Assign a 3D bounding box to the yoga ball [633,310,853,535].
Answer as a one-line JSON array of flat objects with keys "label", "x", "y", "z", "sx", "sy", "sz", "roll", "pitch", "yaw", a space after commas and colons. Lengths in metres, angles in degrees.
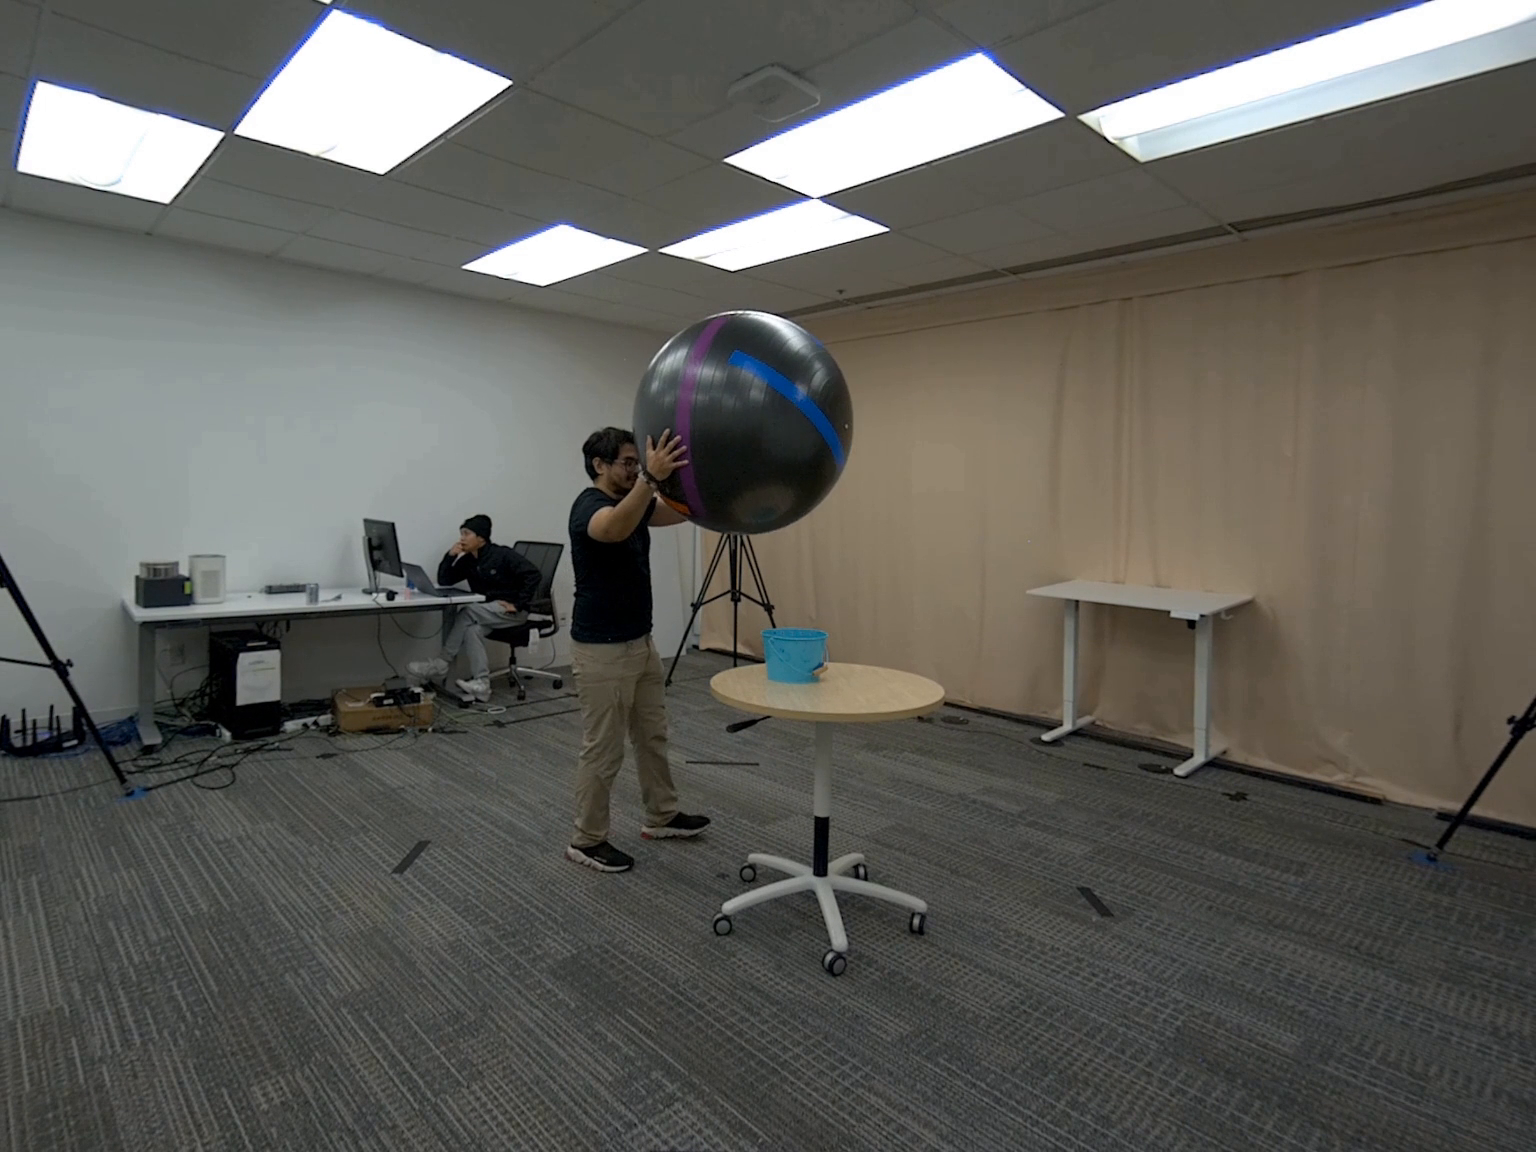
[{"label": "yoga ball", "x": -0.094, "y": -0.518, "z": 2.906, "sx": 0.757, "sy": 0.756, "sz": 0.761, "roll": 1, "pitch": 4, "yaw": -1}]
